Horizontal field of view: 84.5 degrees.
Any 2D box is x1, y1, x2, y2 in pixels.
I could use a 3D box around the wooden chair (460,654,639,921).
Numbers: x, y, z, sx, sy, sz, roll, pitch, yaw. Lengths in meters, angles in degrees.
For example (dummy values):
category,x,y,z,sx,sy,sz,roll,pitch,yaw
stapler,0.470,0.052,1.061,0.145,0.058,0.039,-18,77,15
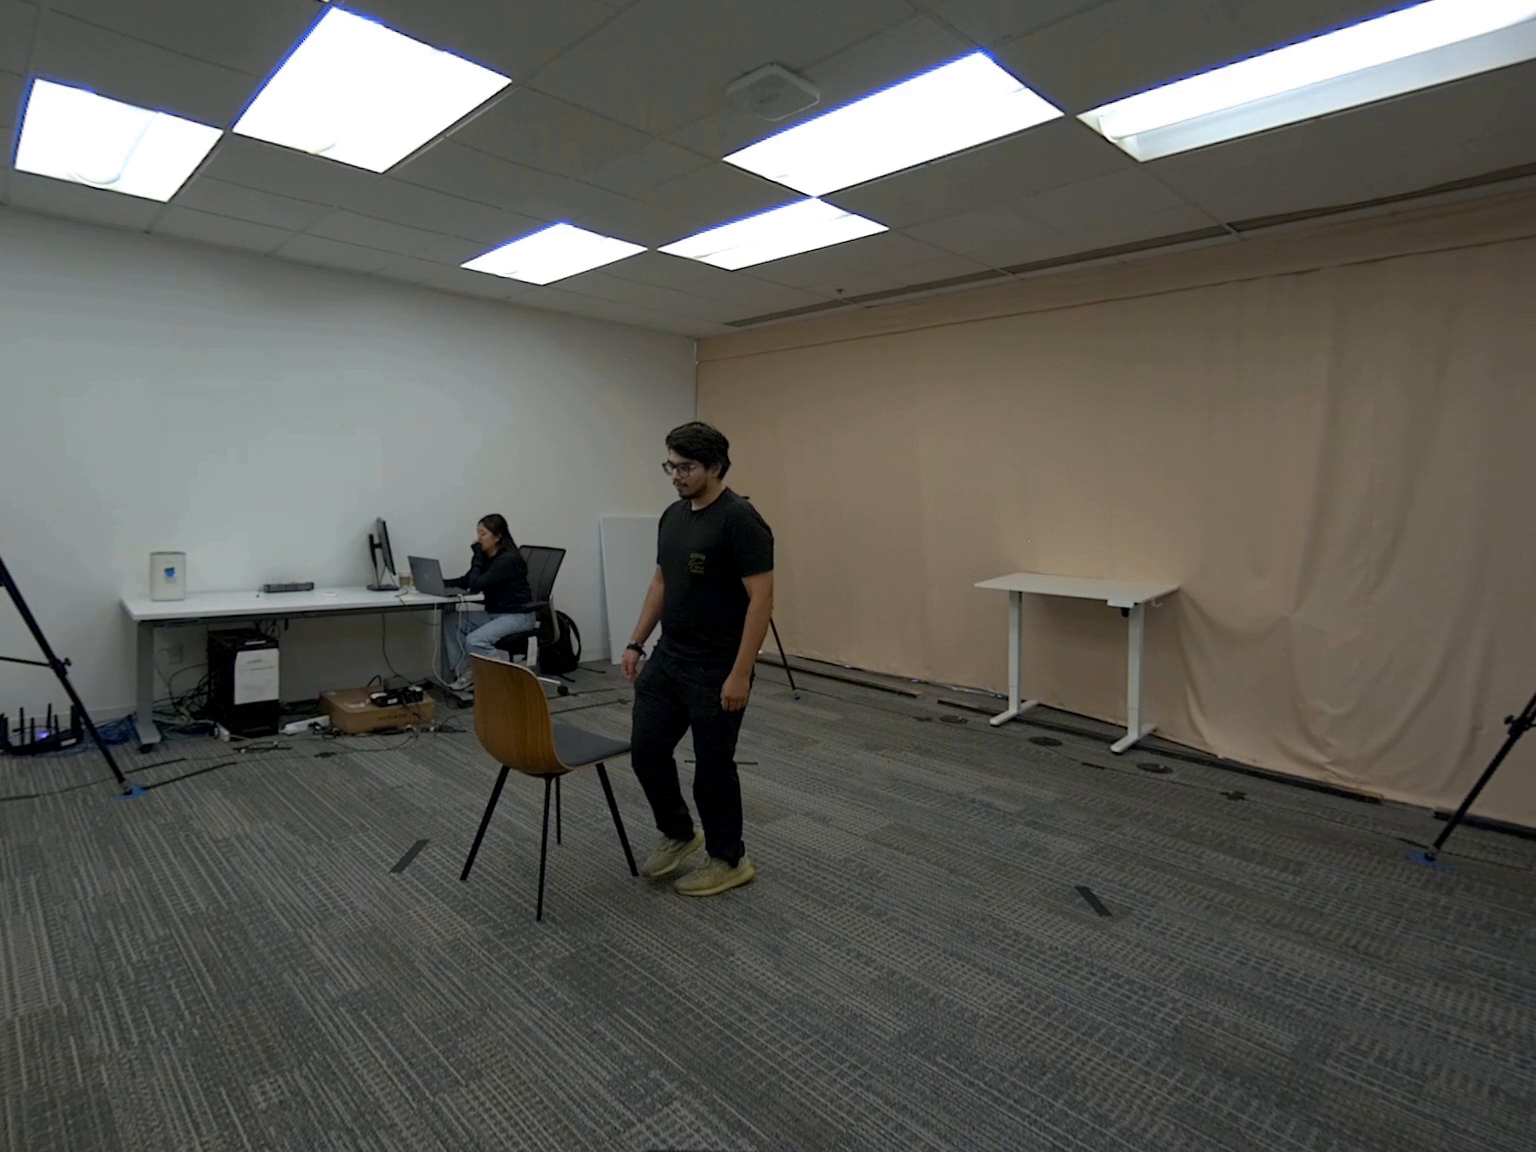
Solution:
category,x,y,z,sx,sy,sz,roll,pitch,yaw
wooden chair,-0.775,0.666,3.026,0.490,0.873,0.513,3,8,38
